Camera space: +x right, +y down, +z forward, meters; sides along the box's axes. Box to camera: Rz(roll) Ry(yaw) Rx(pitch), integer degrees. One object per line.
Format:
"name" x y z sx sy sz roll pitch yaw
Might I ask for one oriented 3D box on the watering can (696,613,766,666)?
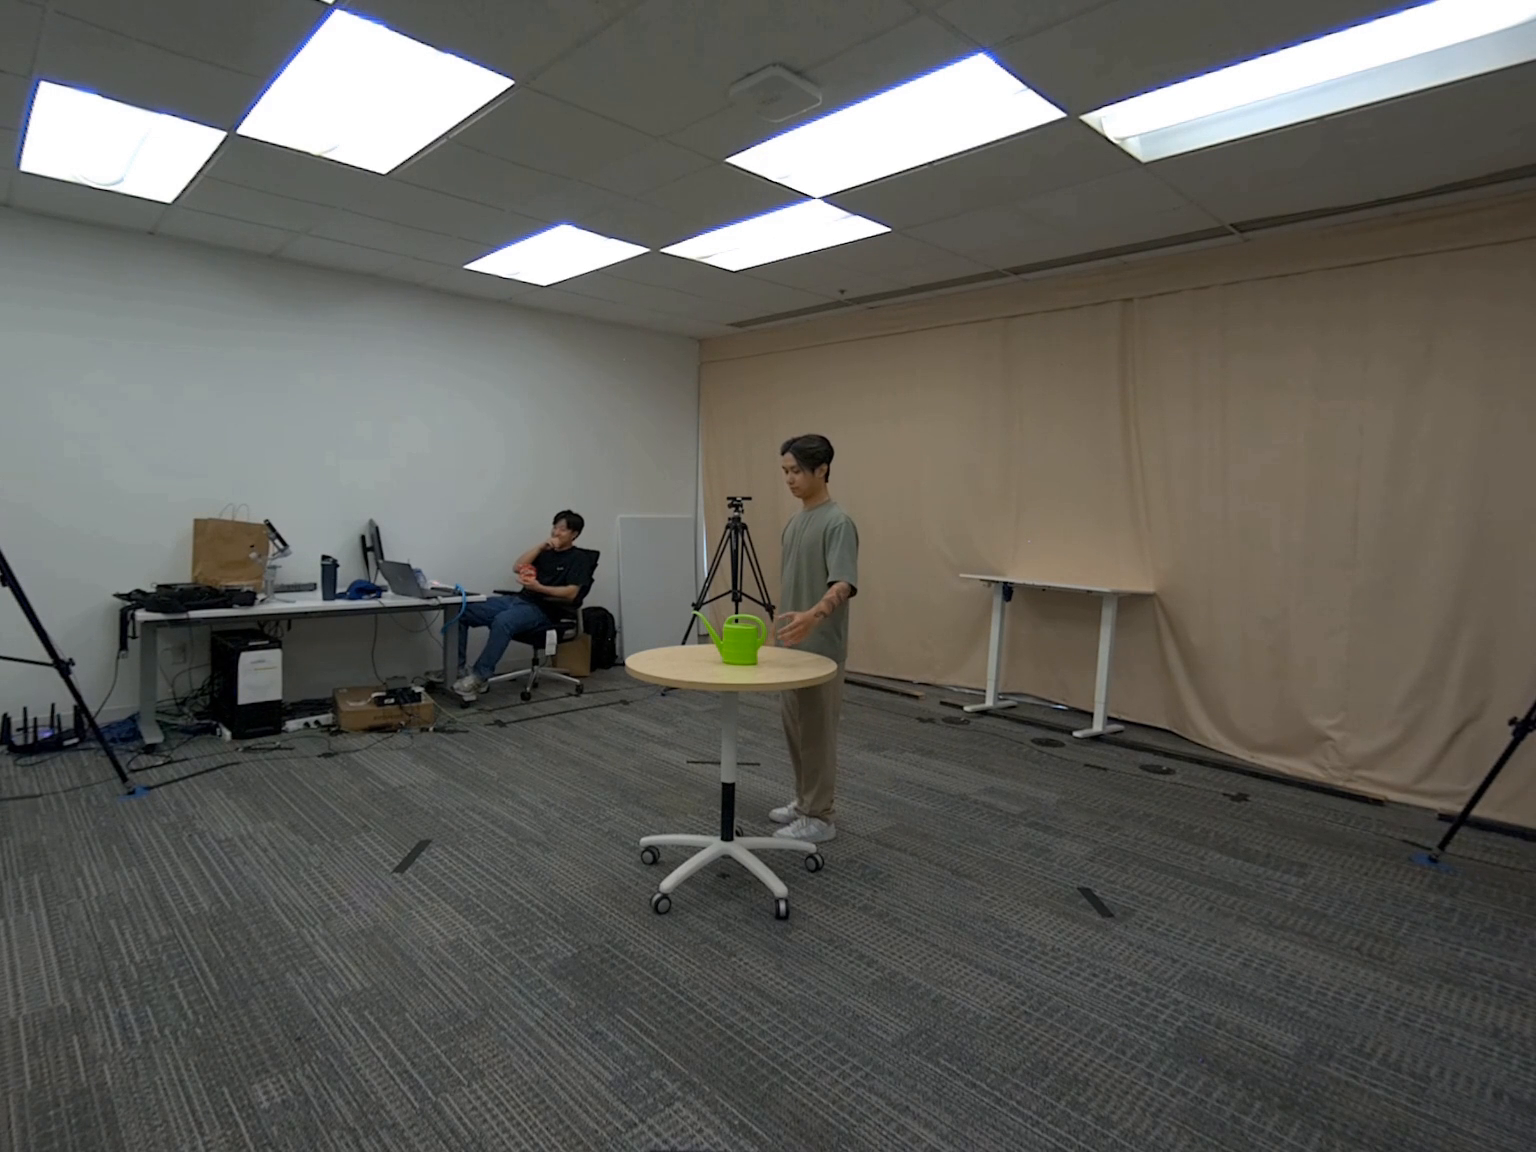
"watering can" -0.143 0.229 3.054 0.284 0.176 0.096 5 4 30
